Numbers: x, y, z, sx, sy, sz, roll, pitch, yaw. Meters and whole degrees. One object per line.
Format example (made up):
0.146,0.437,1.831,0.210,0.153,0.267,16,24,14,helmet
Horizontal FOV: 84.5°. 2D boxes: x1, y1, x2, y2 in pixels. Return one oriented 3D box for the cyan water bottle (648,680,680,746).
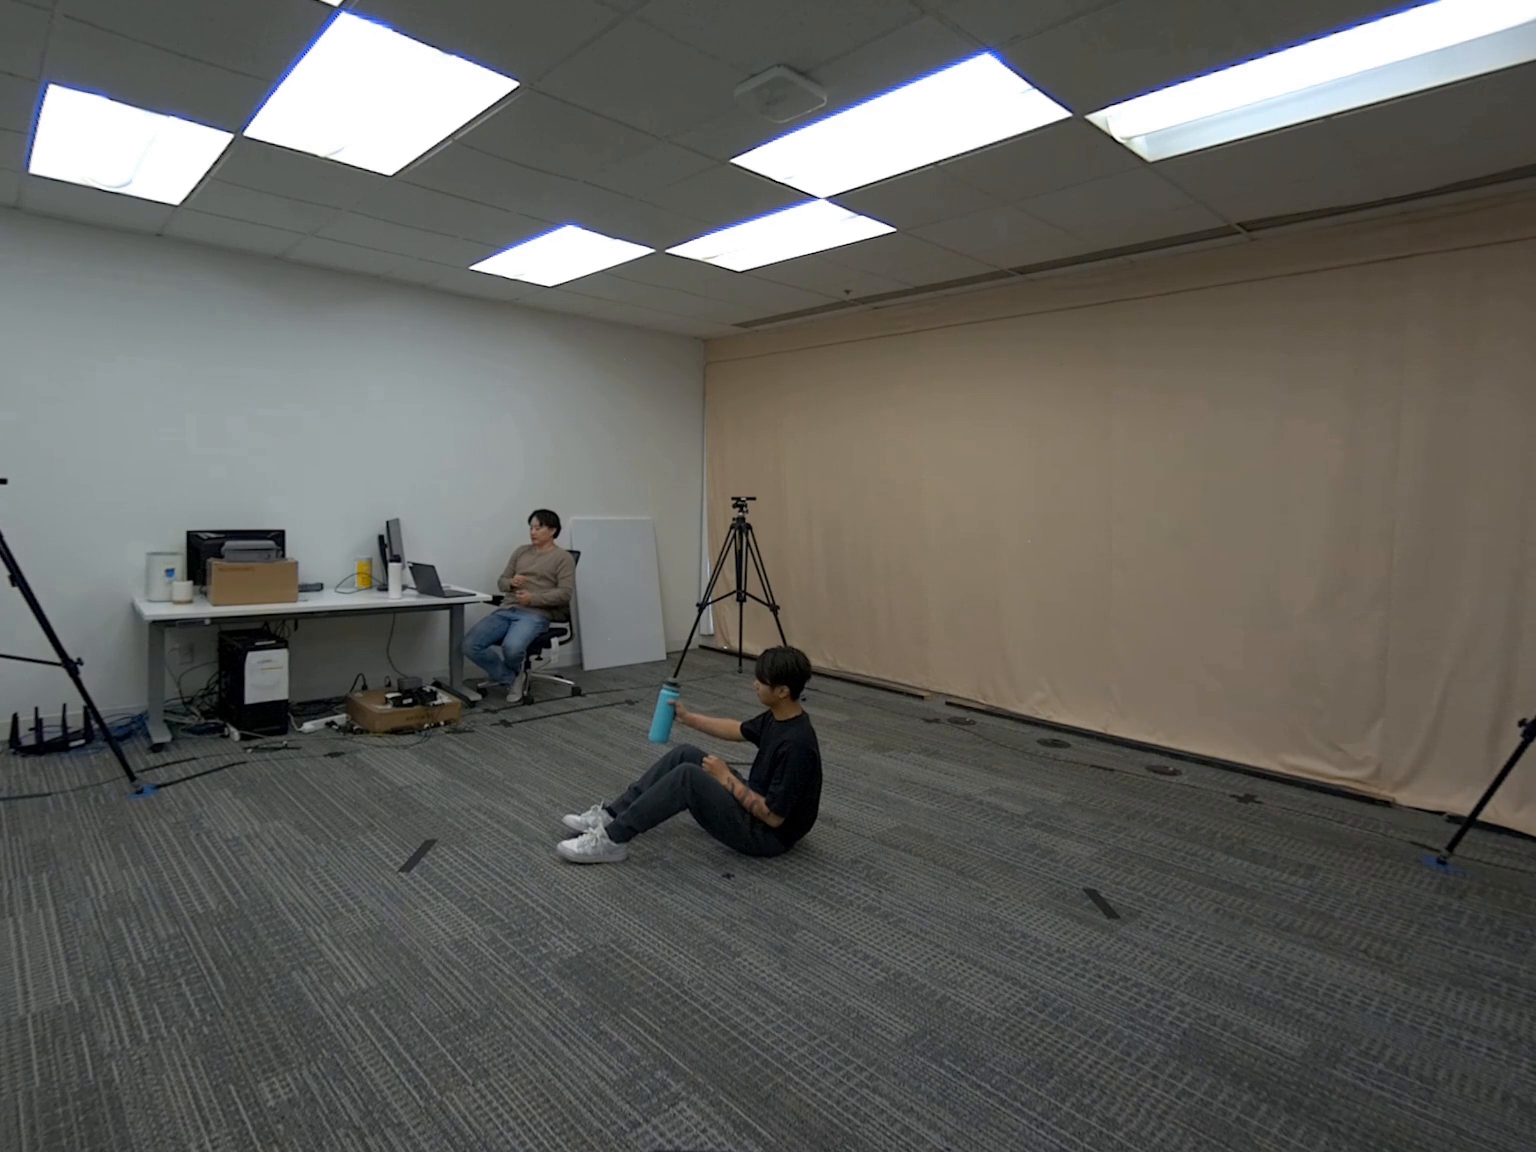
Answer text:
-0.469,0.594,3.744,0.092,0.284,0.092,11,-7,0,cyan water bottle
